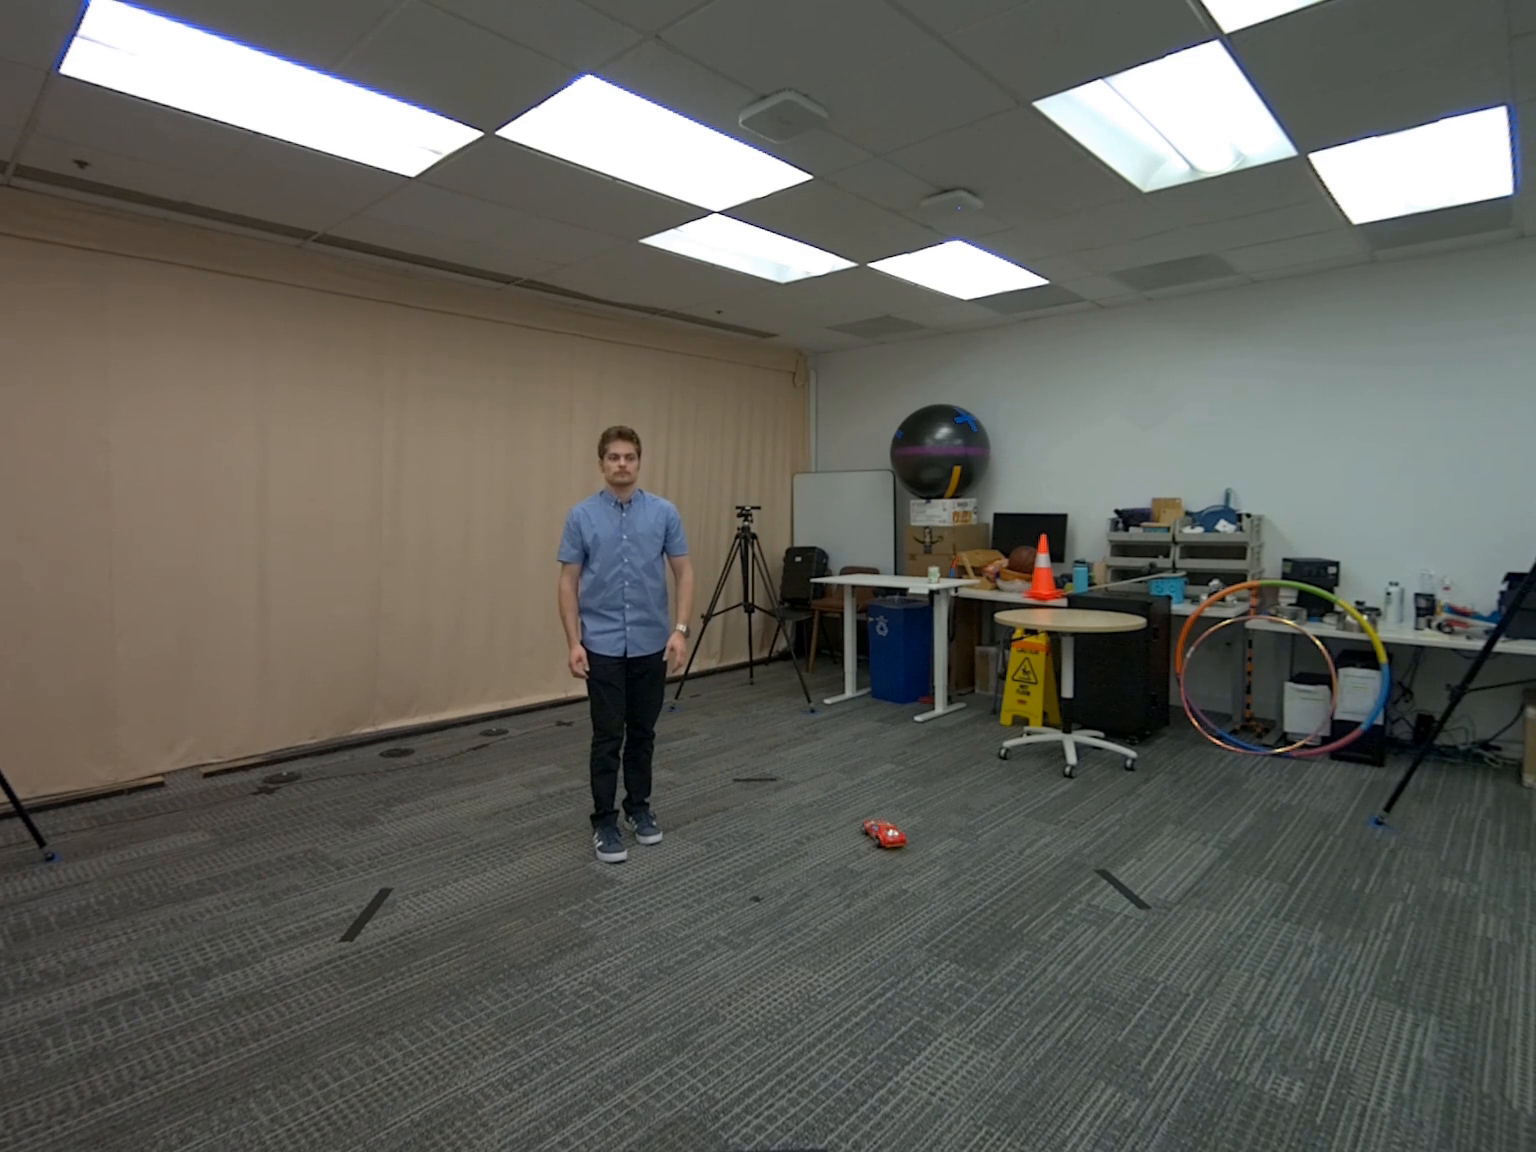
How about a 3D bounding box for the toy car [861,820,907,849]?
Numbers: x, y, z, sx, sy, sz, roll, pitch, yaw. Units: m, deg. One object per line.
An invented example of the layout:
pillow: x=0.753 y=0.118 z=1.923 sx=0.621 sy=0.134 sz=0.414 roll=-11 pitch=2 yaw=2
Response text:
toy car: x=0.487 y=1.067 z=3.486 sx=0.128 sy=0.083 sz=0.257 roll=-2 pitch=-7 yaw=-14
